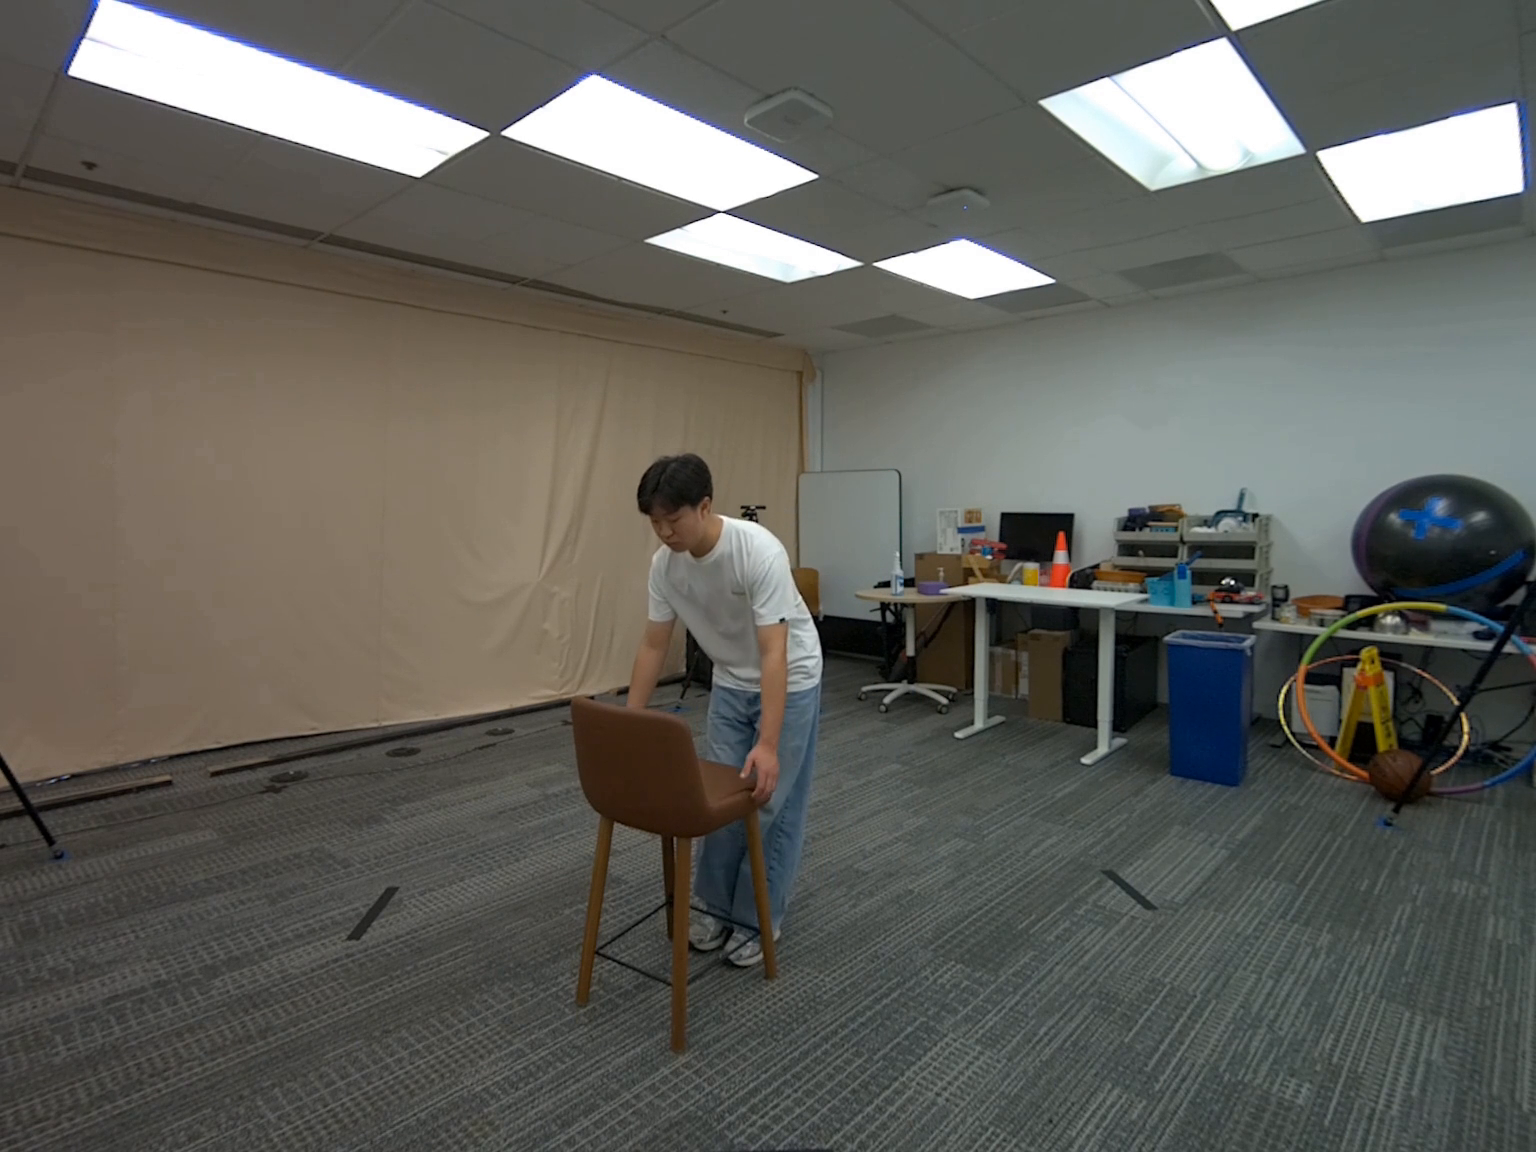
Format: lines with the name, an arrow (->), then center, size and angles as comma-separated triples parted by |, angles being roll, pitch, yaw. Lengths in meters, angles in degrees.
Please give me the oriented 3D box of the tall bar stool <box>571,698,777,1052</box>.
tall bar stool -> -0.267, 0.755, 2.400 | 0.471, 0.887, 0.455 | 2, 6, 35
